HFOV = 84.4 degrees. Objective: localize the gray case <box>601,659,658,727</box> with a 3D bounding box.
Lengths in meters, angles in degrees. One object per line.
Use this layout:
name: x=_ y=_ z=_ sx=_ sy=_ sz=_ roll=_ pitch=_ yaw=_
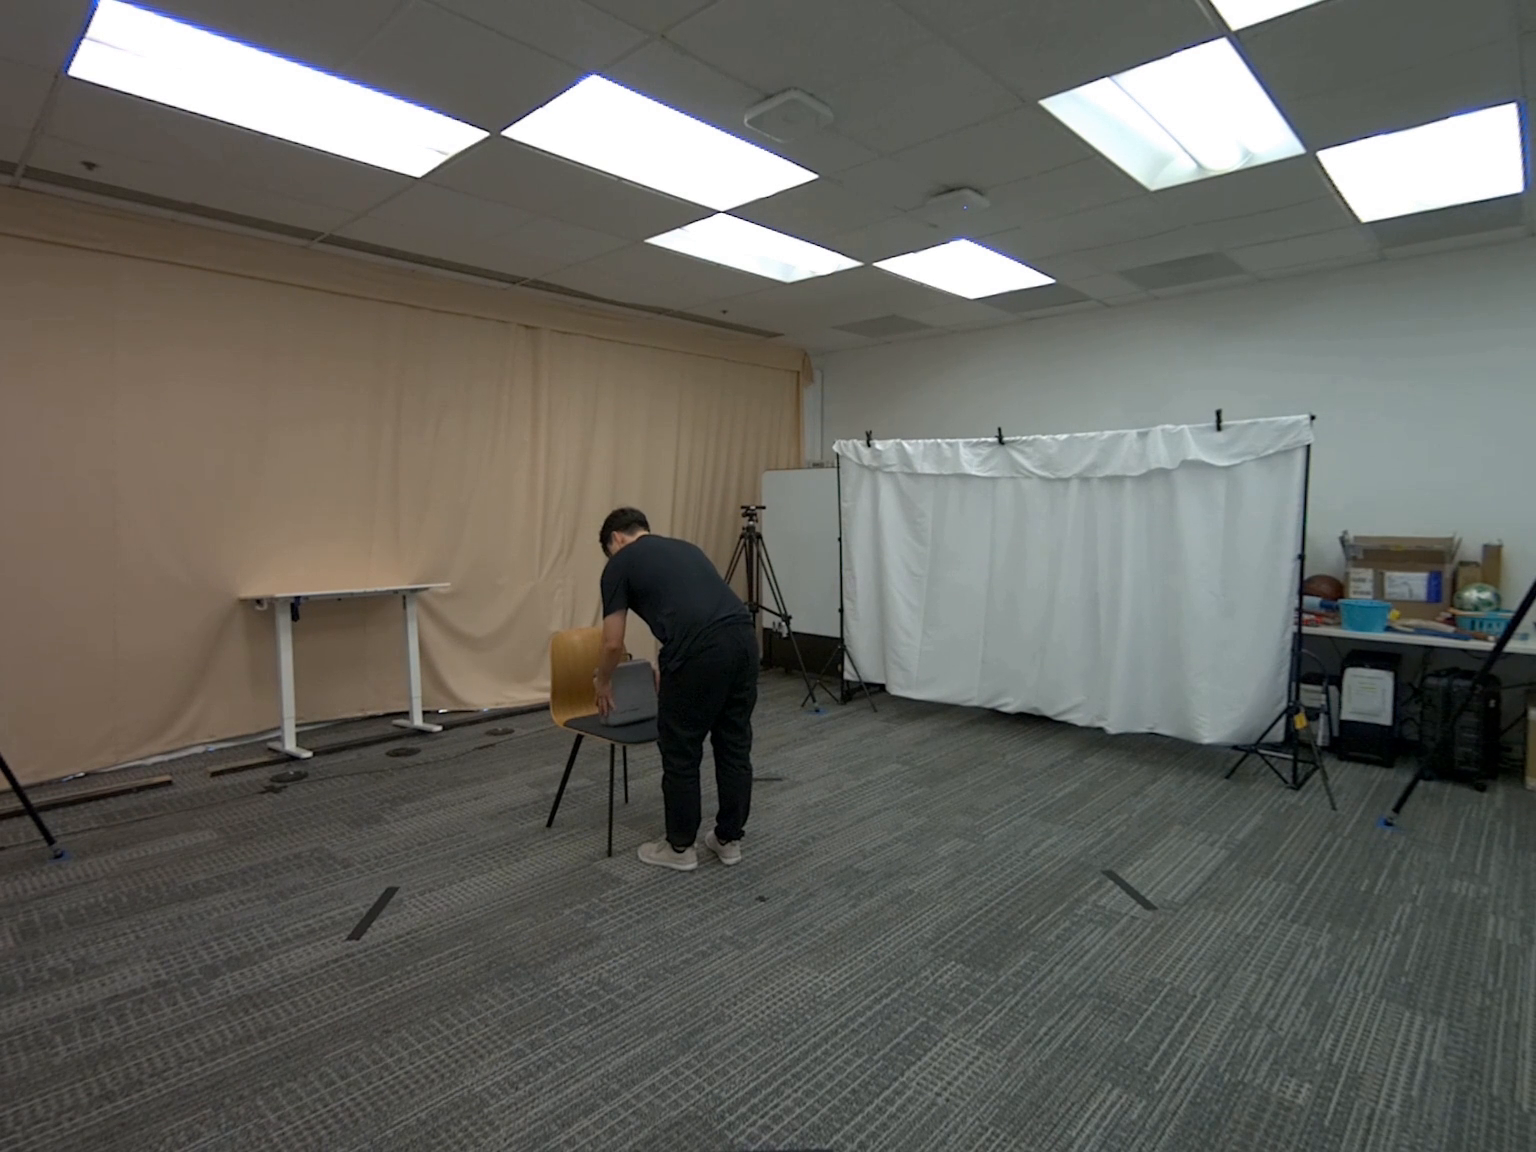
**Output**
gray case: x=-0.600 y=0.499 z=3.575 sx=0.250 sy=0.263 sz=0.106 roll=-5 pitch=-12 yaw=-29
